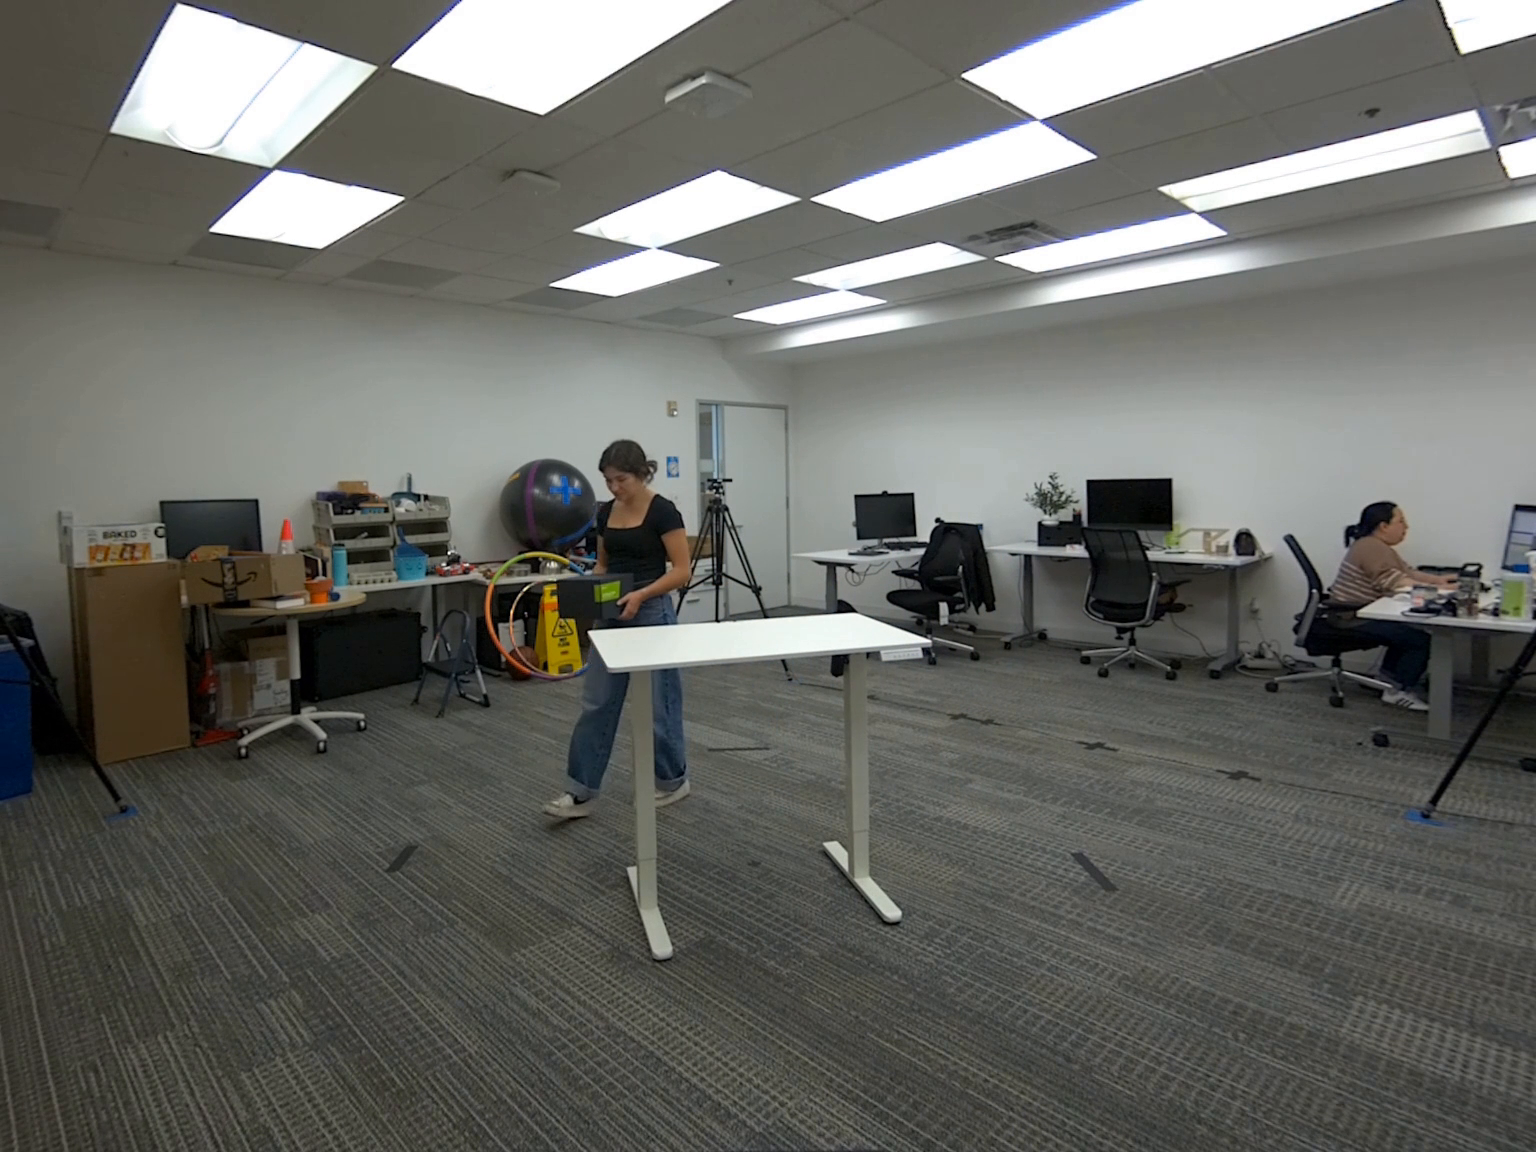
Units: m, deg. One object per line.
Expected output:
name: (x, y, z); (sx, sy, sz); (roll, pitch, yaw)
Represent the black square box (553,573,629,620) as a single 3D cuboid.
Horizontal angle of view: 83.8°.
black square box: (-0.691, 0.076, 3.398); (0.222, 0.155, 0.223); (0, 4, 27)
